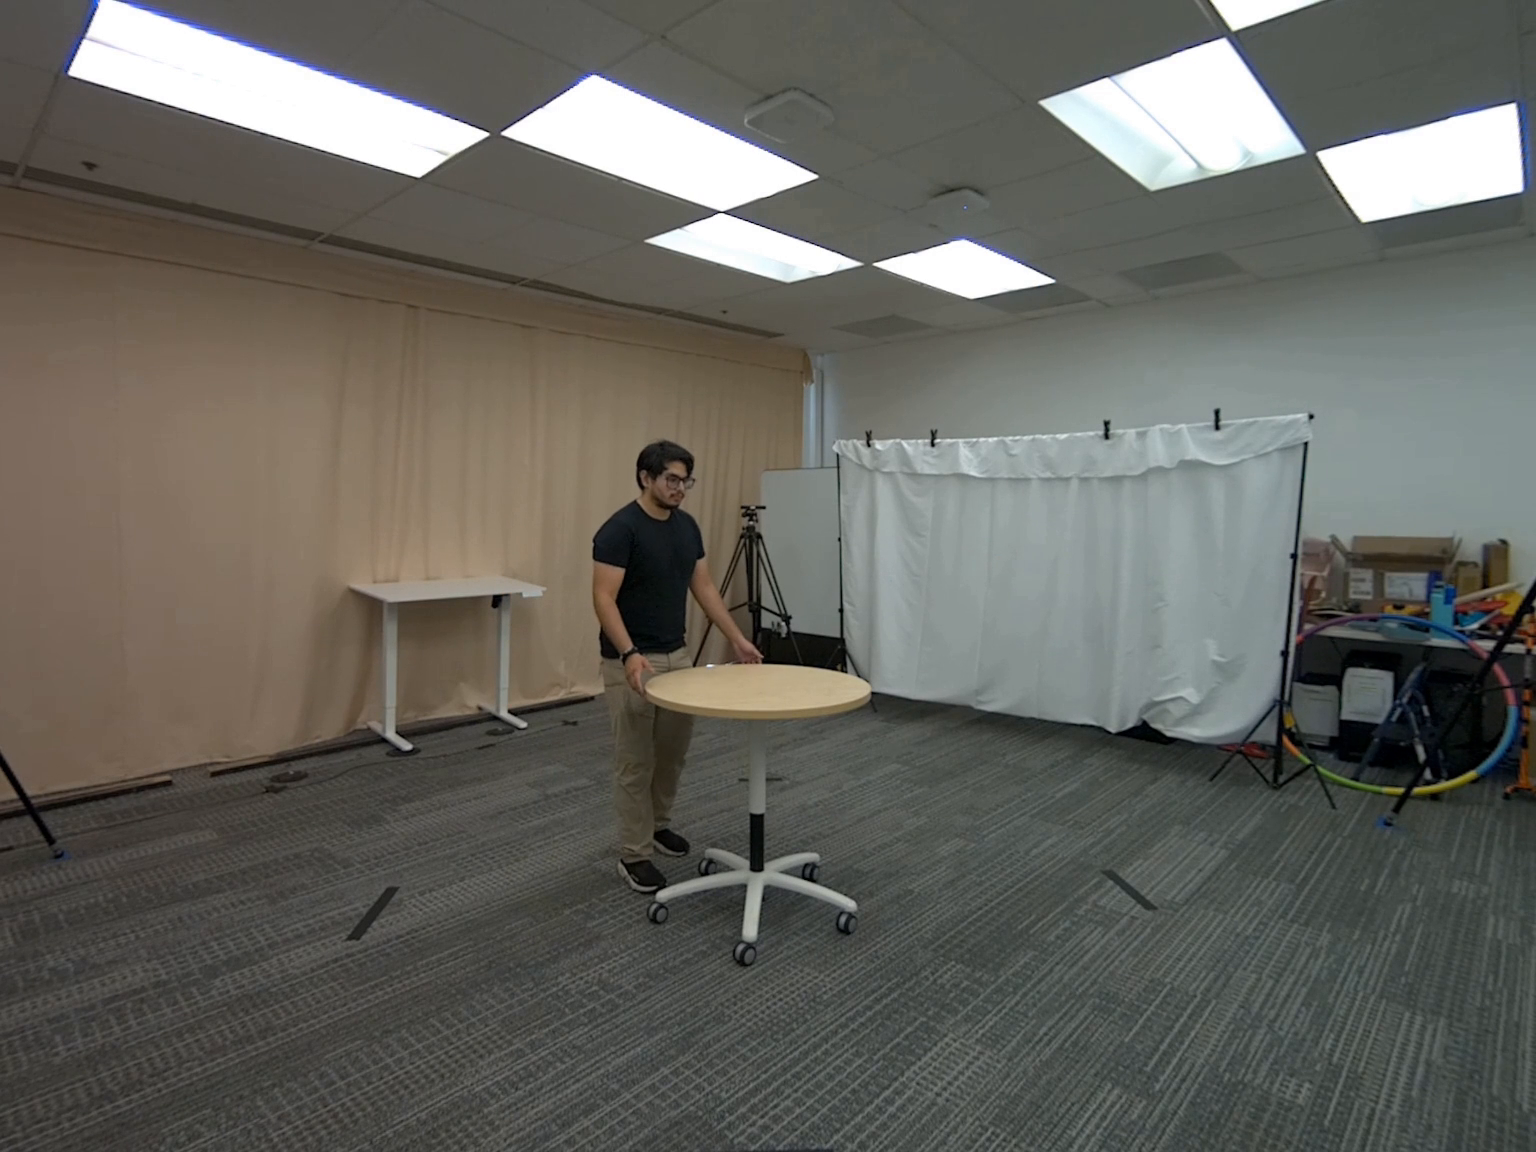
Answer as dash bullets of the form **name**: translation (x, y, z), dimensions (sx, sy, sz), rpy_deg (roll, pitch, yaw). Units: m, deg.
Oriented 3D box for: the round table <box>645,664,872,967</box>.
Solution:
- **round table**: translation (-0.022, 0.756, 2.889), dimensions (0.784, 0.784, 0.788), rpy_deg (0, 4, -2)
